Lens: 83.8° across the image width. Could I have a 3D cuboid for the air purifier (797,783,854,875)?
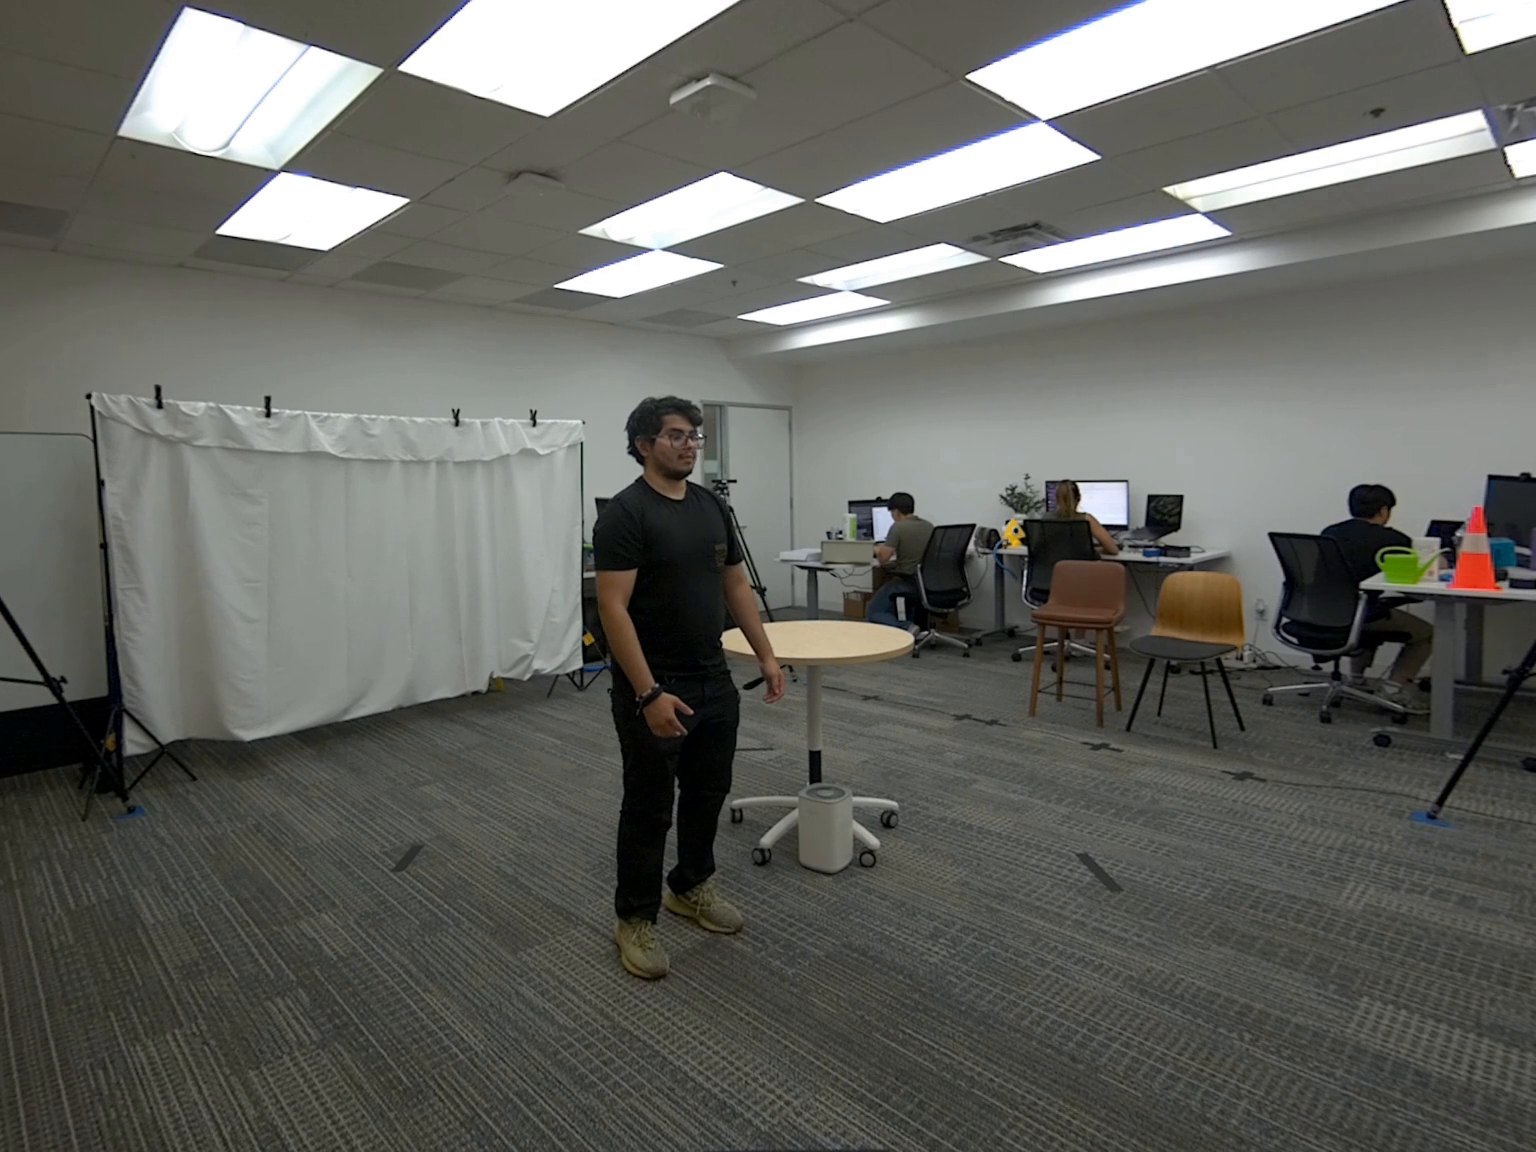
[{"bbox_3d":[0.211,0.912,3.088,0.176,0.264,0.167,2,4,34],"label":"air purifier"}]
